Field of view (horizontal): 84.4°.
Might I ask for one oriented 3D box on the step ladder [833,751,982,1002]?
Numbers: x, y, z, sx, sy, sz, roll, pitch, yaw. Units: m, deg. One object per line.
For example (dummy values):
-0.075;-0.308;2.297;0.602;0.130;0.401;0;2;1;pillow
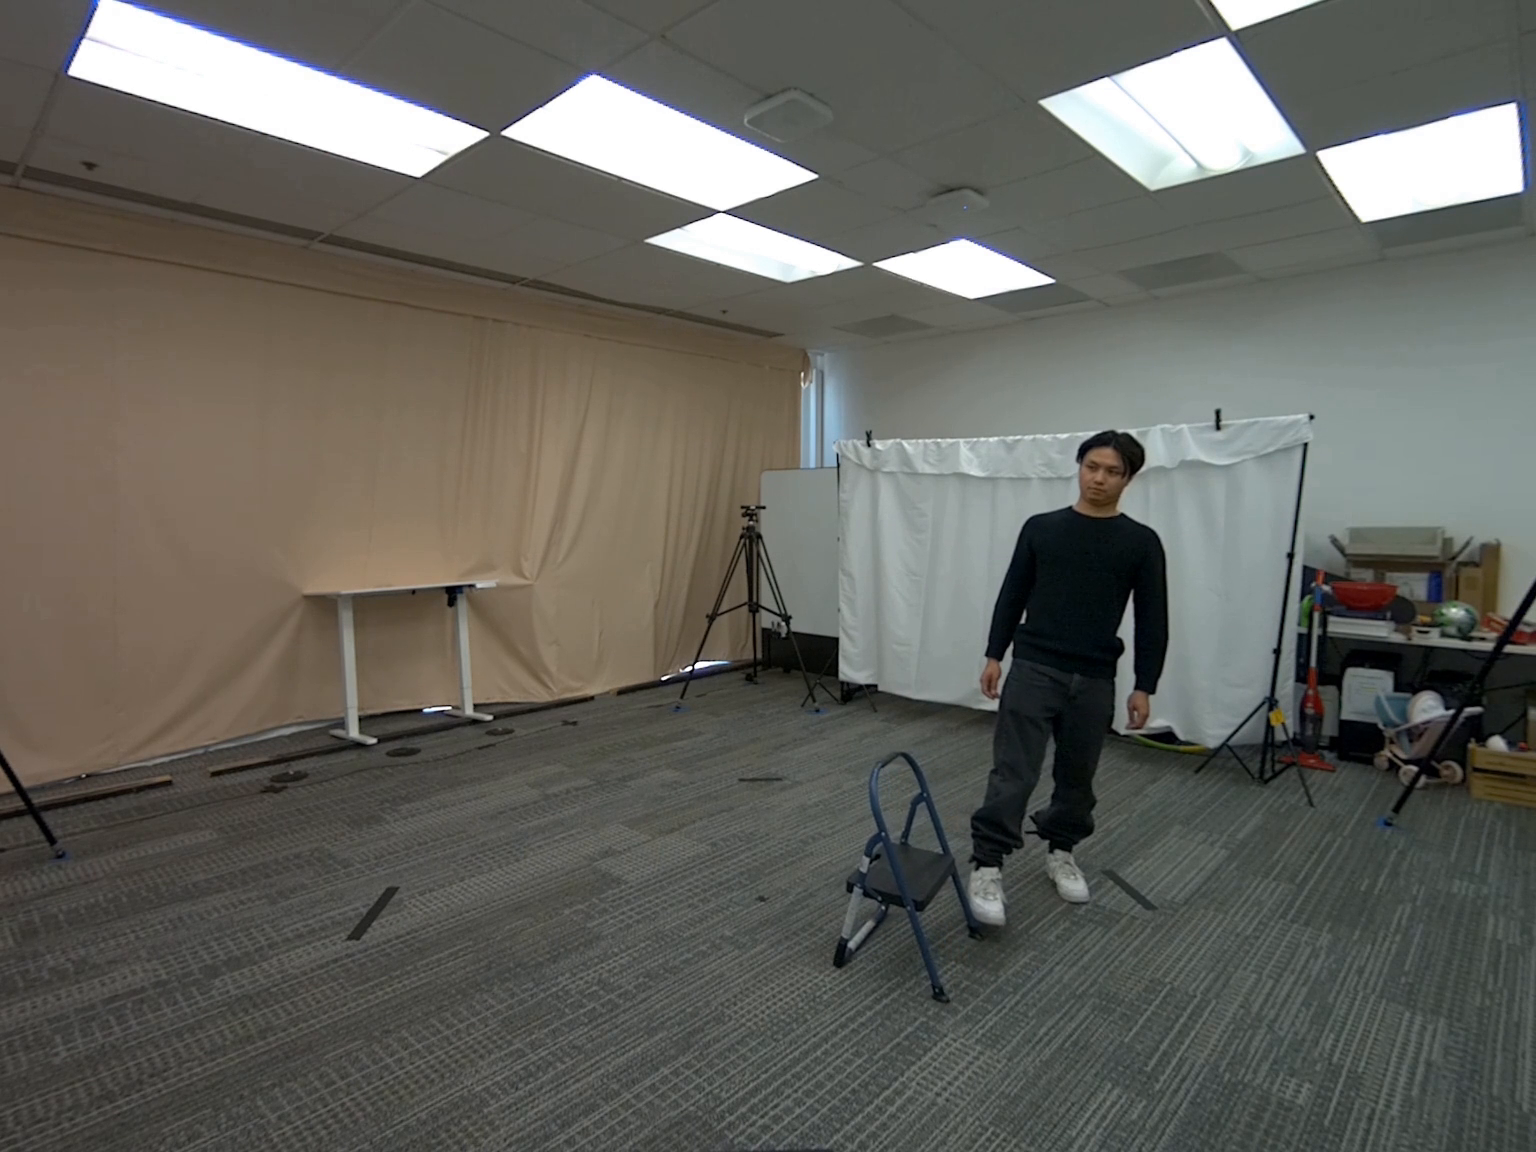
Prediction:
0.450;0.870;2.610;0.359;0.605;0.419;2;4;29;step ladder
